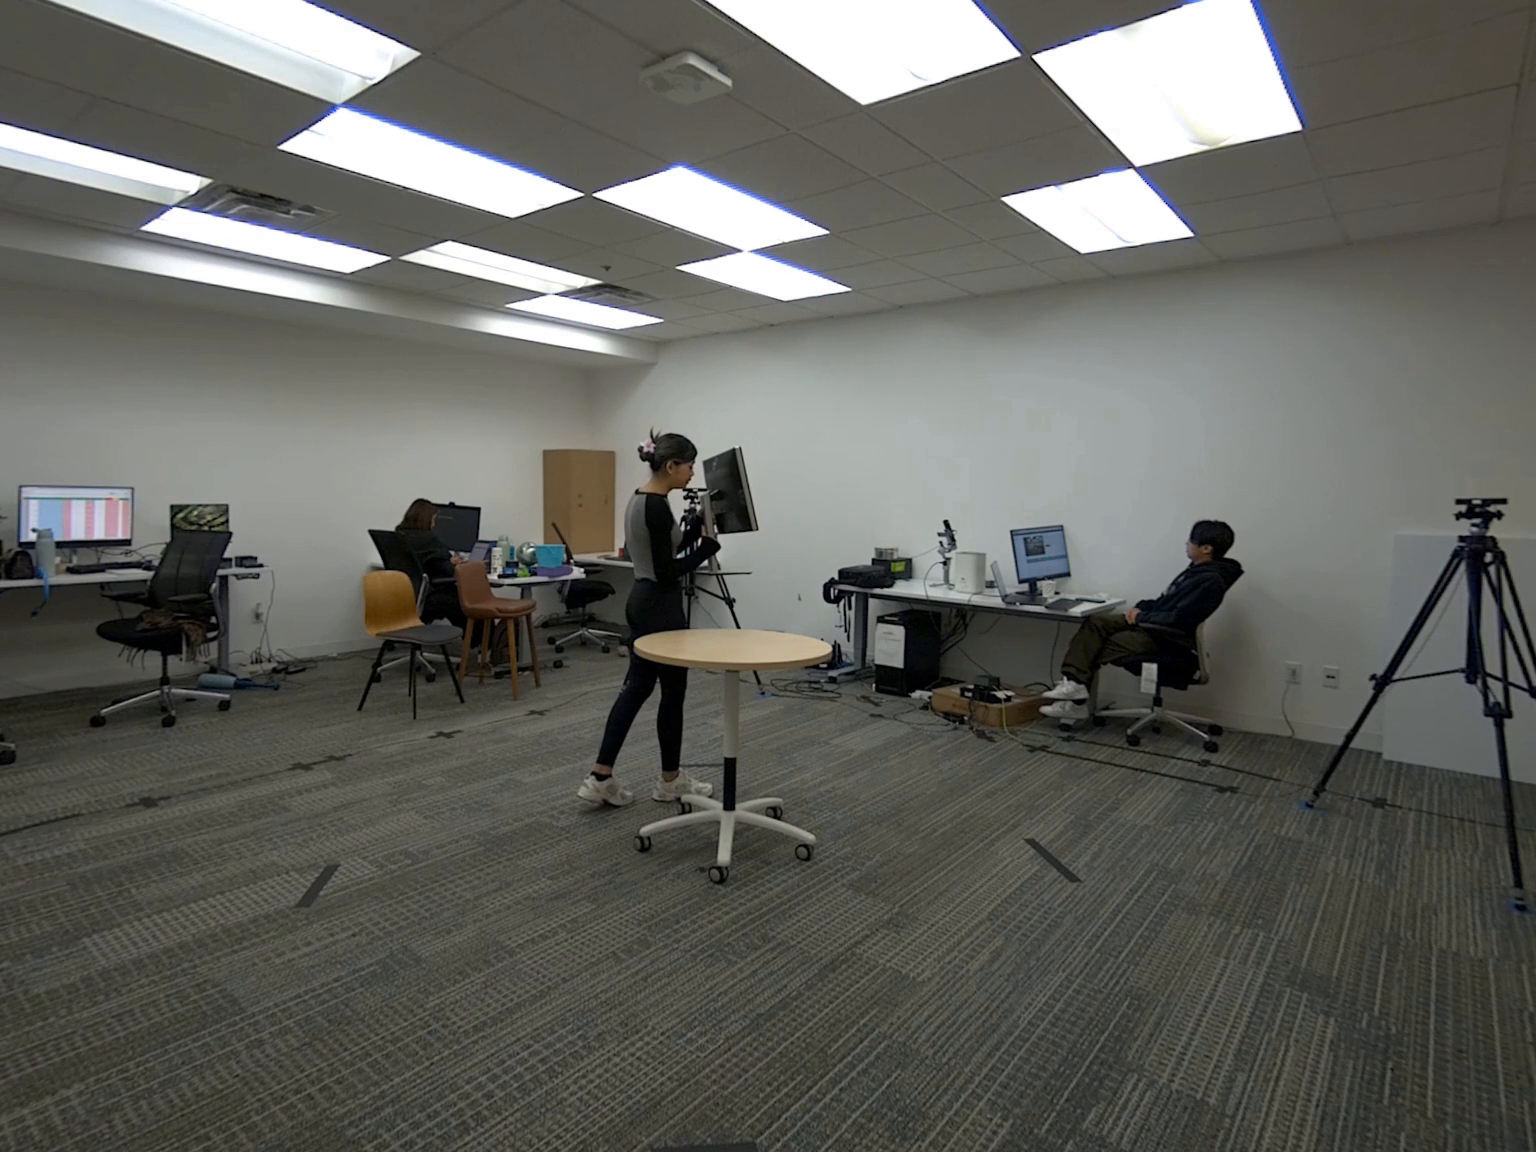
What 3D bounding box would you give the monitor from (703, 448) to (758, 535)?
[{"bbox_3d":[-0.220,-0.278,3.802,0.183,0.523,0.549,-1,0,-20],"label":"monitor"}]
